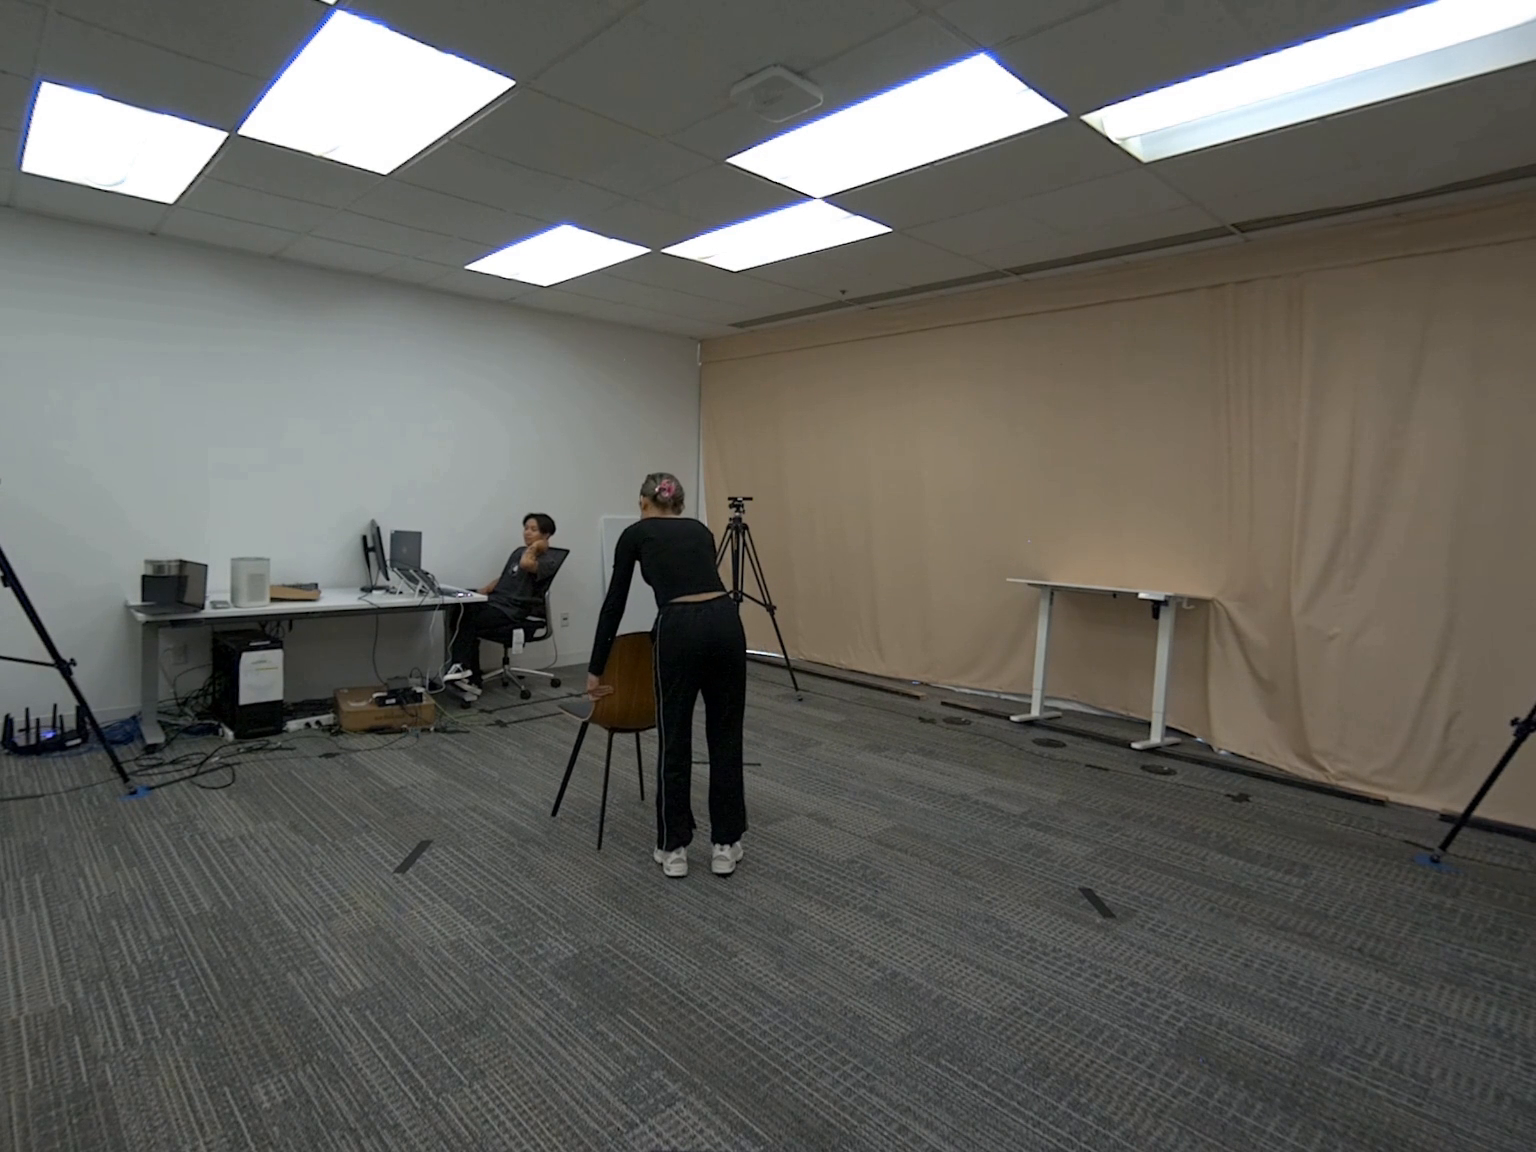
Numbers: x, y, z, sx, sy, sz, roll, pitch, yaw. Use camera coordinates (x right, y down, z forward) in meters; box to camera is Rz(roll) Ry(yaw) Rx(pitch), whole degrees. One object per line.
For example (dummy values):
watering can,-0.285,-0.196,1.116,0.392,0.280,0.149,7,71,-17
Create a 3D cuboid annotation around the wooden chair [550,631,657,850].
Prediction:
wooden chair,-0.609,0.612,3.533,0.467,0.874,0.537,0,7,-36
